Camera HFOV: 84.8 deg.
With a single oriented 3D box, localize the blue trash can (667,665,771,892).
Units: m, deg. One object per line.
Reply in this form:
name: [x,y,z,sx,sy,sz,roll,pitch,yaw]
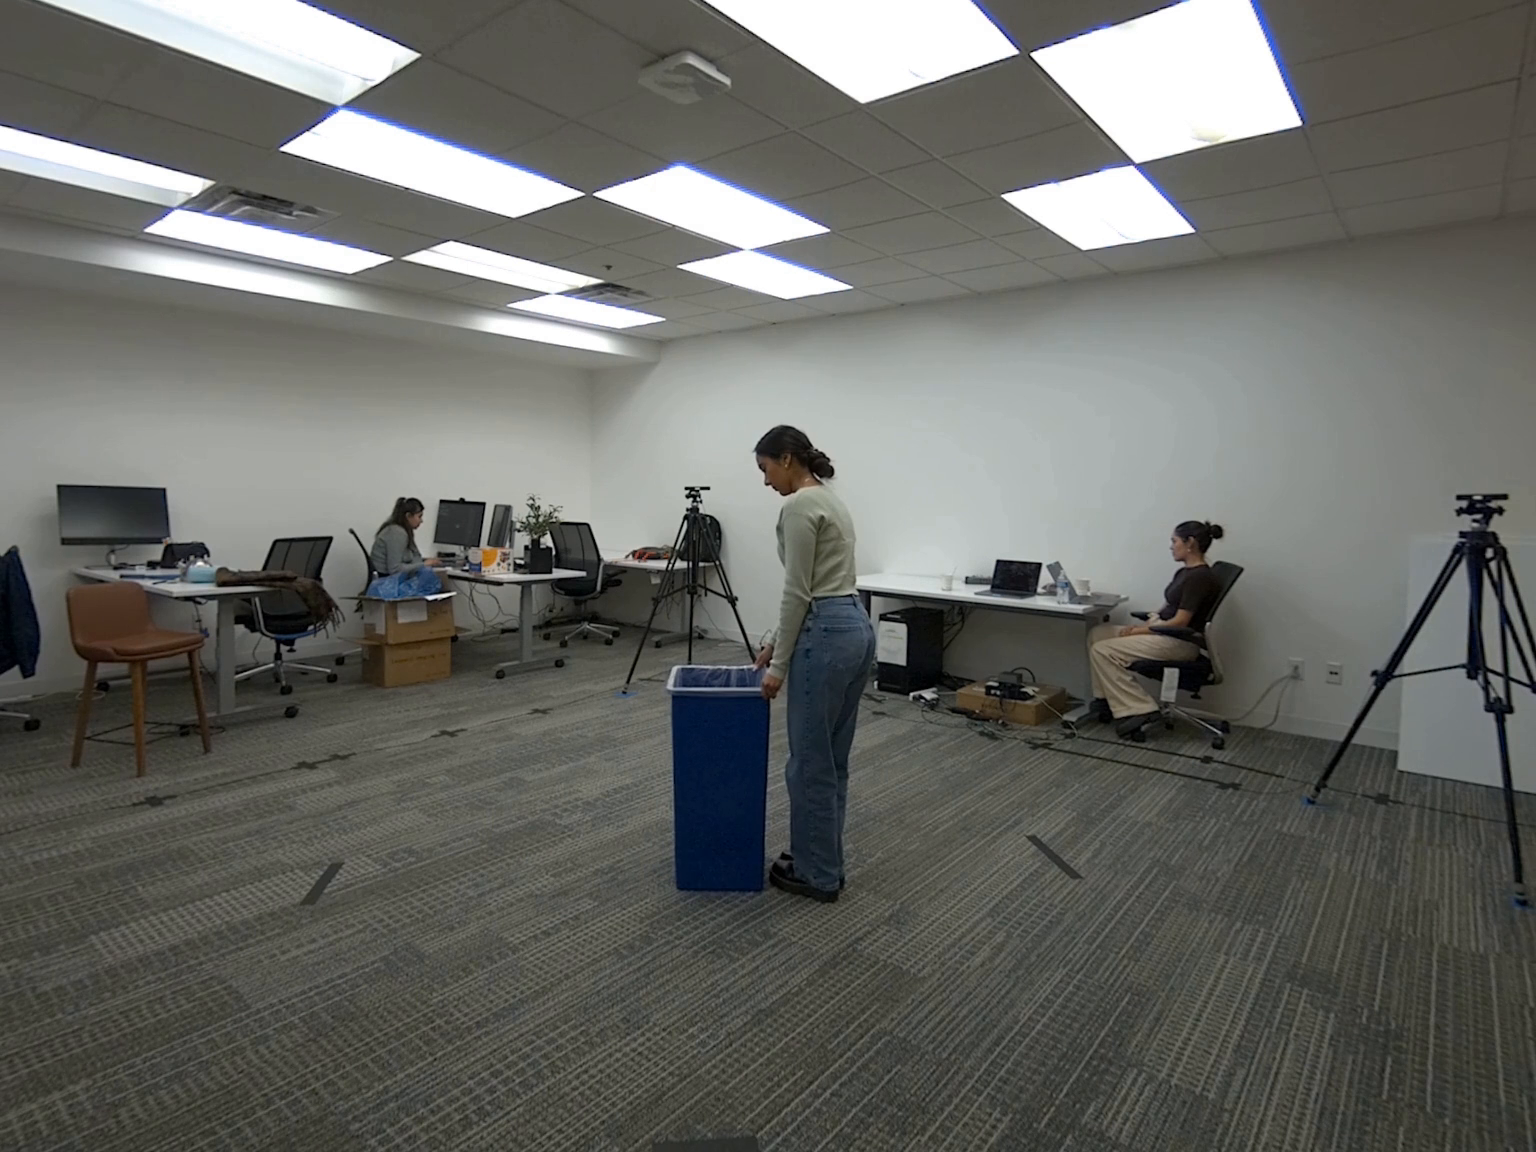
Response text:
blue trash can: [-0.178,0.716,3.052,0.378,0.711,0.376,0,3,-2]
